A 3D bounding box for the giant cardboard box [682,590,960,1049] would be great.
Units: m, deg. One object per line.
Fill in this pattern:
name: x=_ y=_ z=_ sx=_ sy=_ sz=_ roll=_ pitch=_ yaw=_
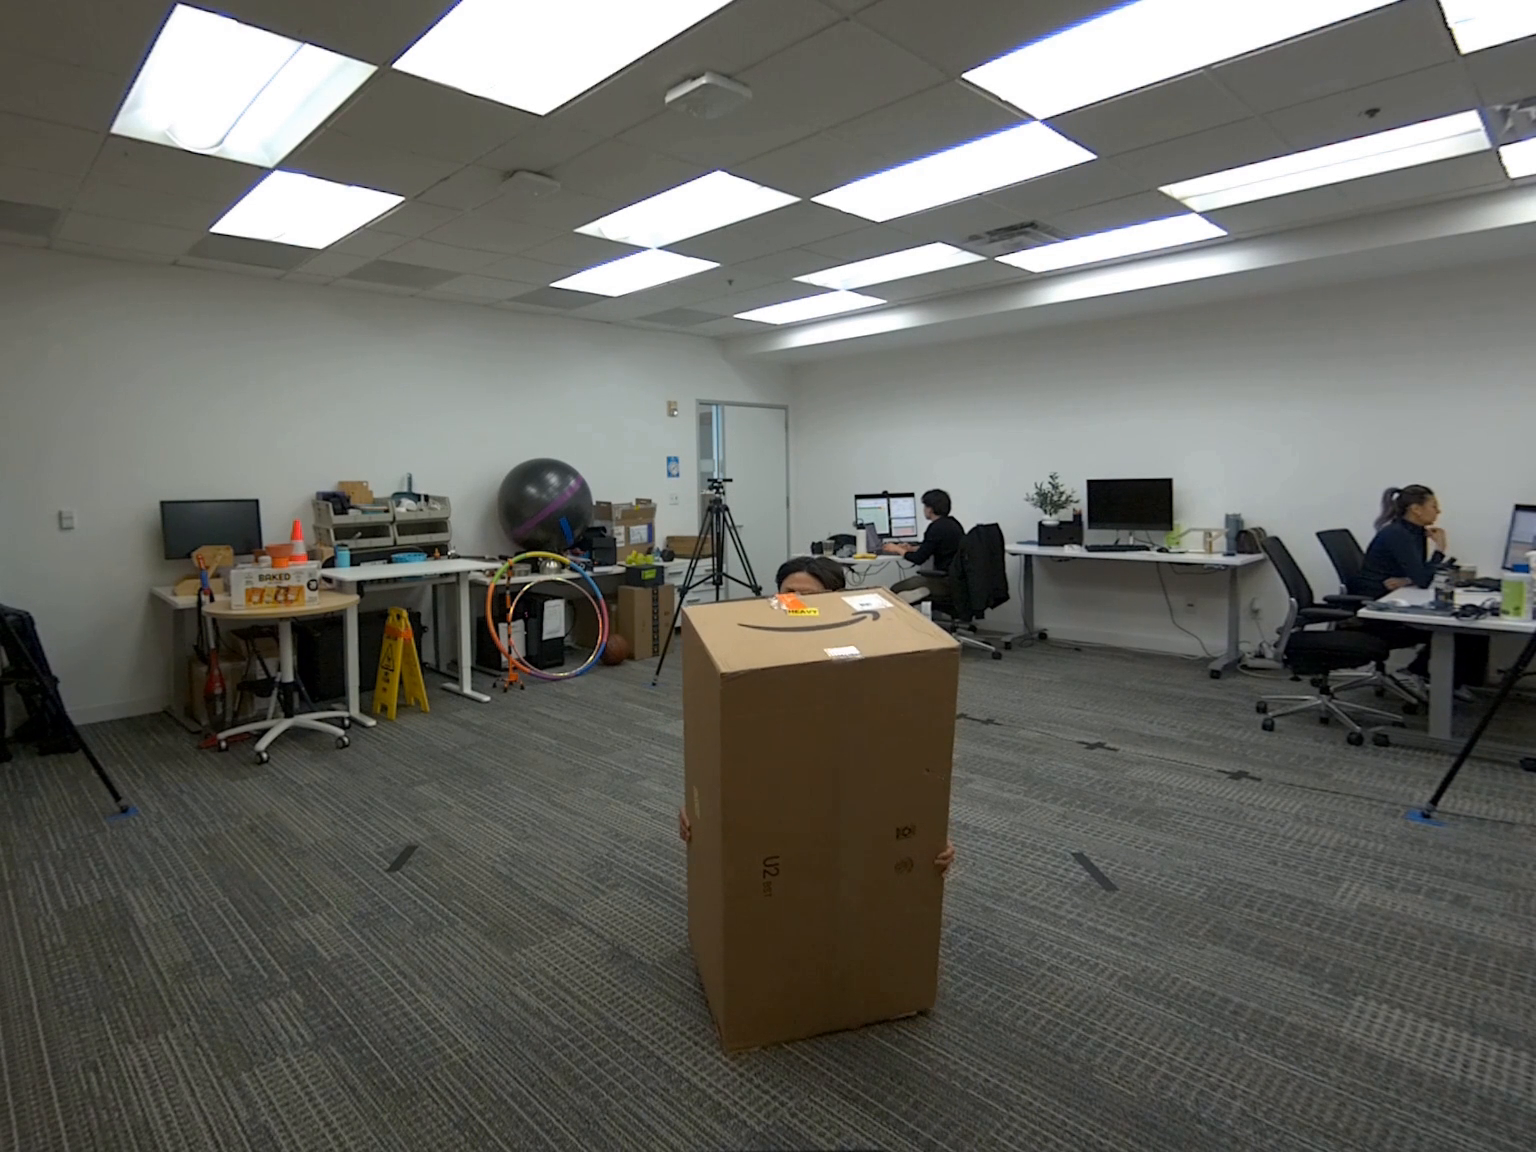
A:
giant cardboard box: x=0.106 y=0.597 z=2.193 sx=0.570 sy=1.011 sz=0.437 roll=-4 pitch=16 yaw=-14
